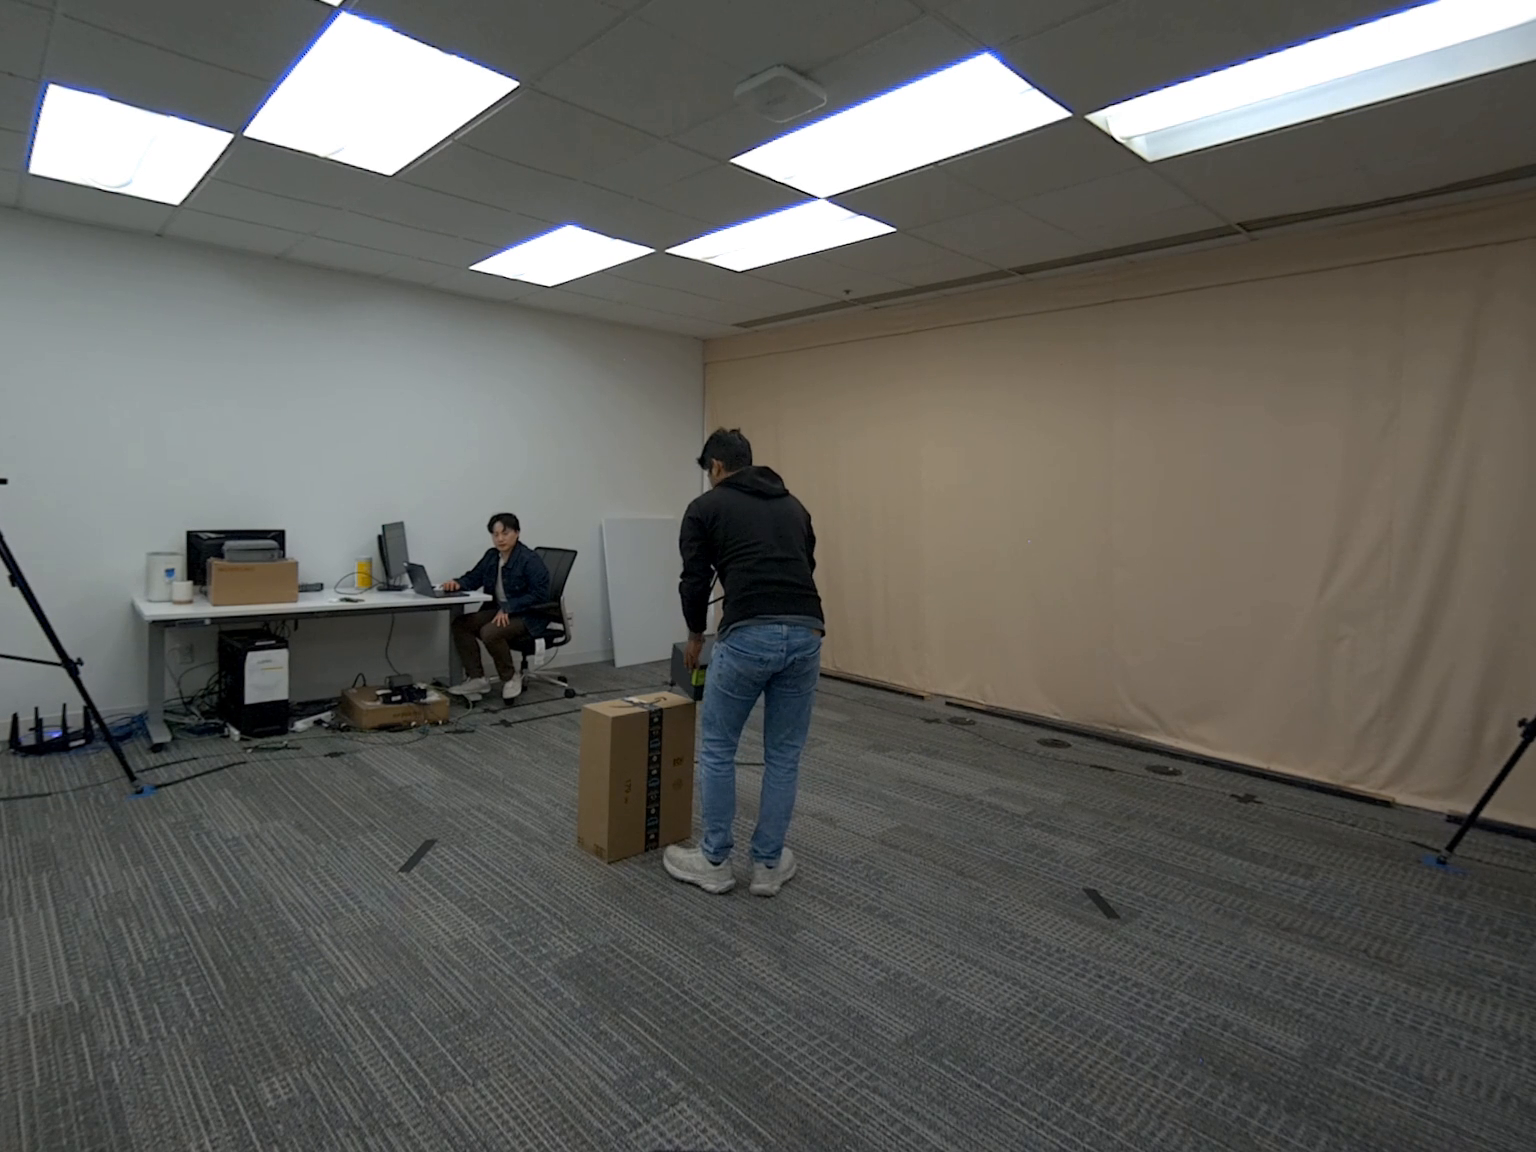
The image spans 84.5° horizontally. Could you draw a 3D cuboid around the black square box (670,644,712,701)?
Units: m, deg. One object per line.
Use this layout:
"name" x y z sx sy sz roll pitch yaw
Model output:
"black square box" -0.246 0.387 3.375 0.223 0.154 0.224 -5 23 -31
